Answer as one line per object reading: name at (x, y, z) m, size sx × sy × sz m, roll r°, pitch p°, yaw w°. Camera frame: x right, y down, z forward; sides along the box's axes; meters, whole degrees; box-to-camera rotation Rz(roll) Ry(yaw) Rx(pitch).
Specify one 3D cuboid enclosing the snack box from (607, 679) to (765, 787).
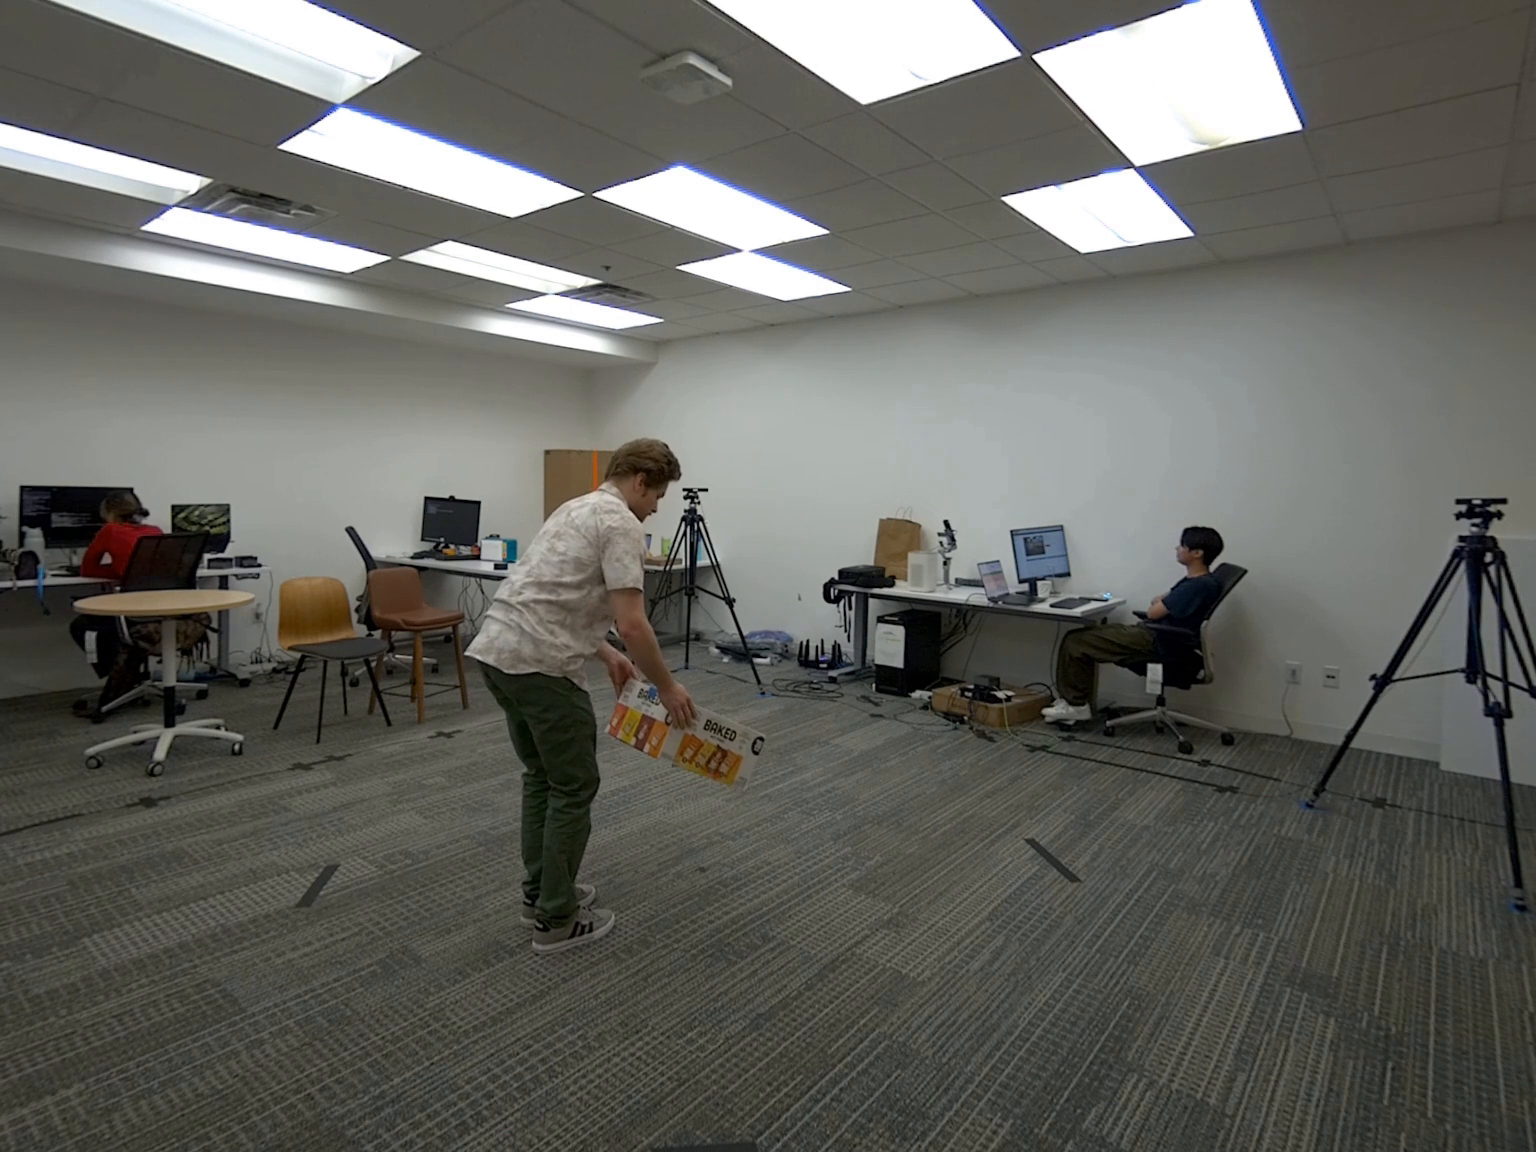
snack box at (-0.293, 0.548, 2.932) m, size 0.389 × 0.207 × 0.352 m, roll 31°, pitch -13°, yaw -37°
